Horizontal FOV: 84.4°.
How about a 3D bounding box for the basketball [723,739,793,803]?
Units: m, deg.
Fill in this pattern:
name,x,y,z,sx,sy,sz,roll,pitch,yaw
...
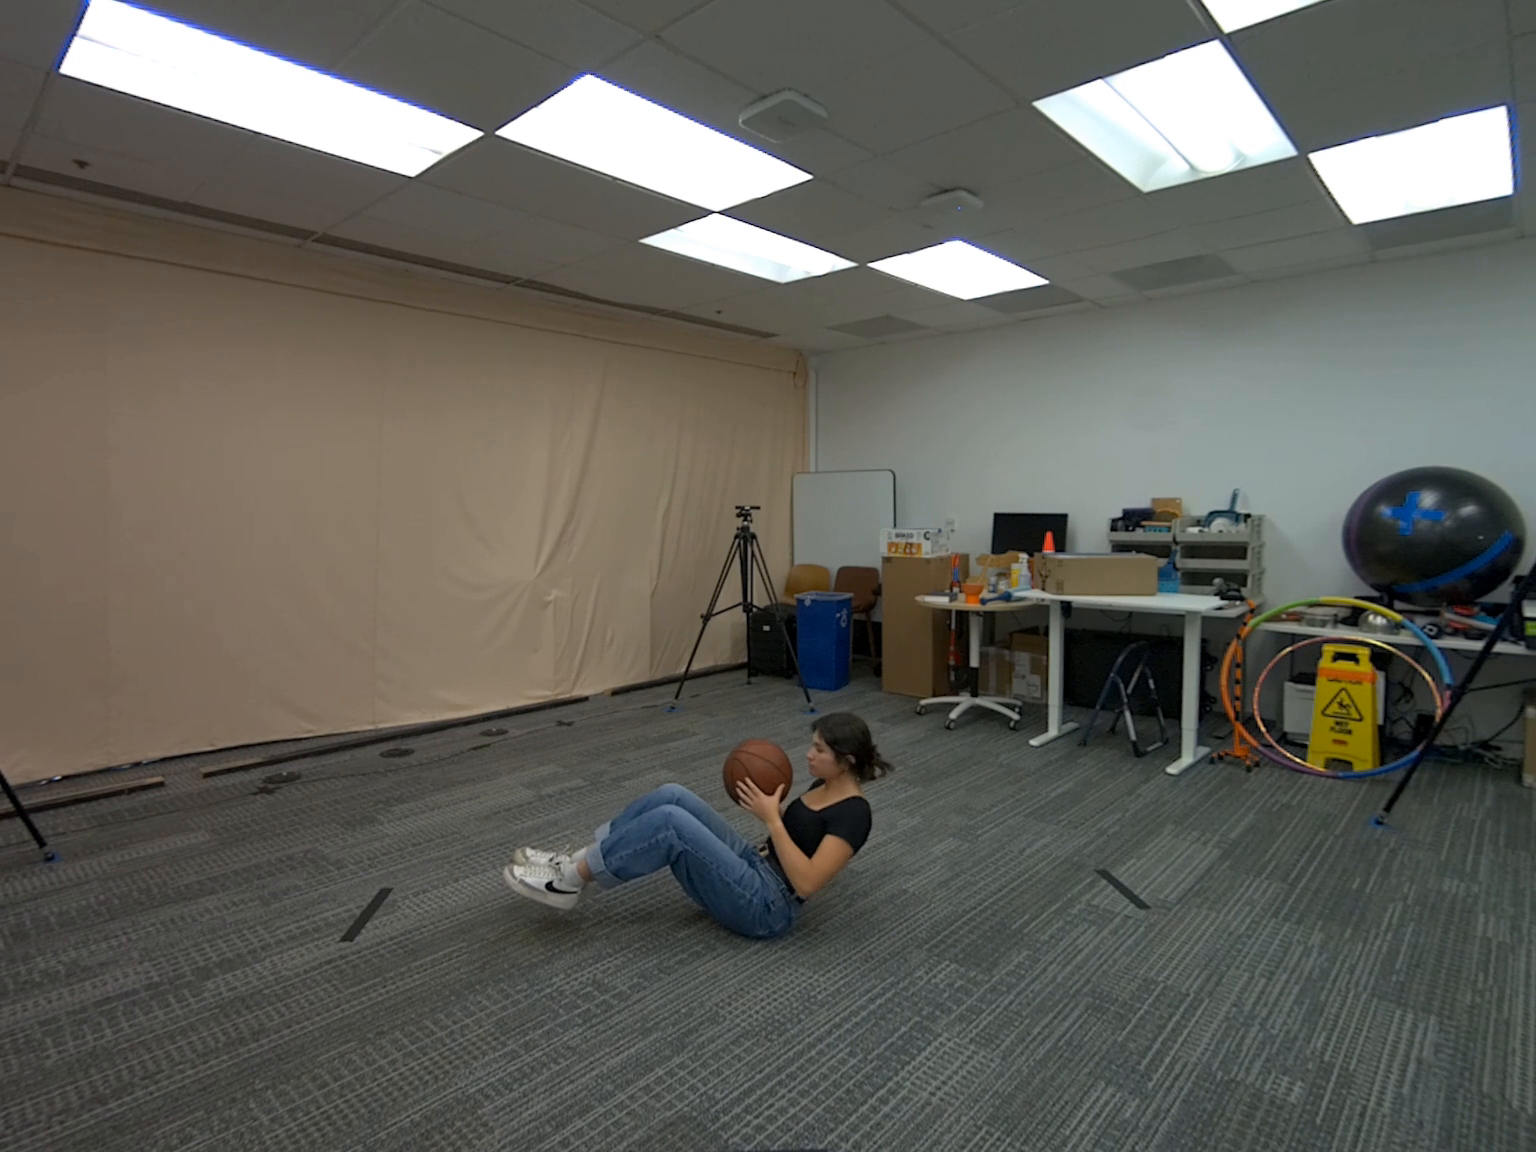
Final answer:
name,x,y,z,sx,sy,sz,roll,pitch,yaw
basketball,-0.030,0.689,2.874,0.236,0.235,0.237,0,4,-2
